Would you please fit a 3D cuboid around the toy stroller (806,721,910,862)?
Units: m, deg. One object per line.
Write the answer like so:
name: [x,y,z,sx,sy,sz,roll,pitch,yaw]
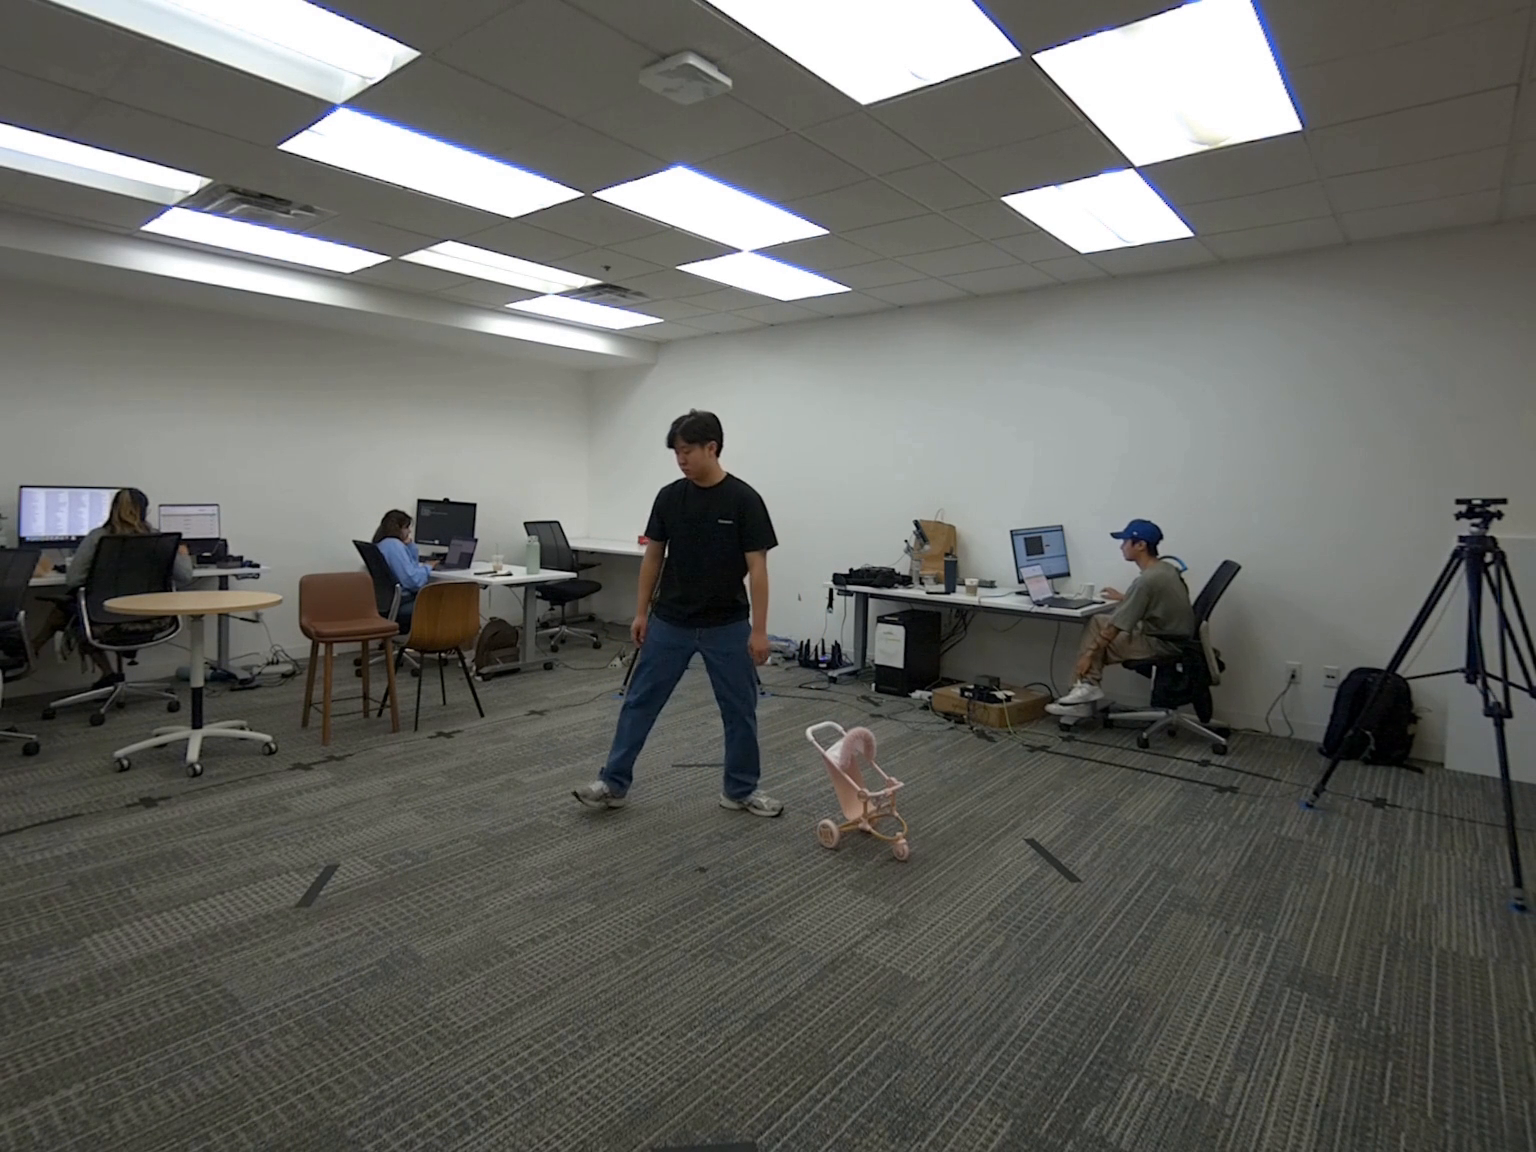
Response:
toy stroller: [0.361,0.834,3.353,0.273,0.540,0.348,-3,-11,-41]
